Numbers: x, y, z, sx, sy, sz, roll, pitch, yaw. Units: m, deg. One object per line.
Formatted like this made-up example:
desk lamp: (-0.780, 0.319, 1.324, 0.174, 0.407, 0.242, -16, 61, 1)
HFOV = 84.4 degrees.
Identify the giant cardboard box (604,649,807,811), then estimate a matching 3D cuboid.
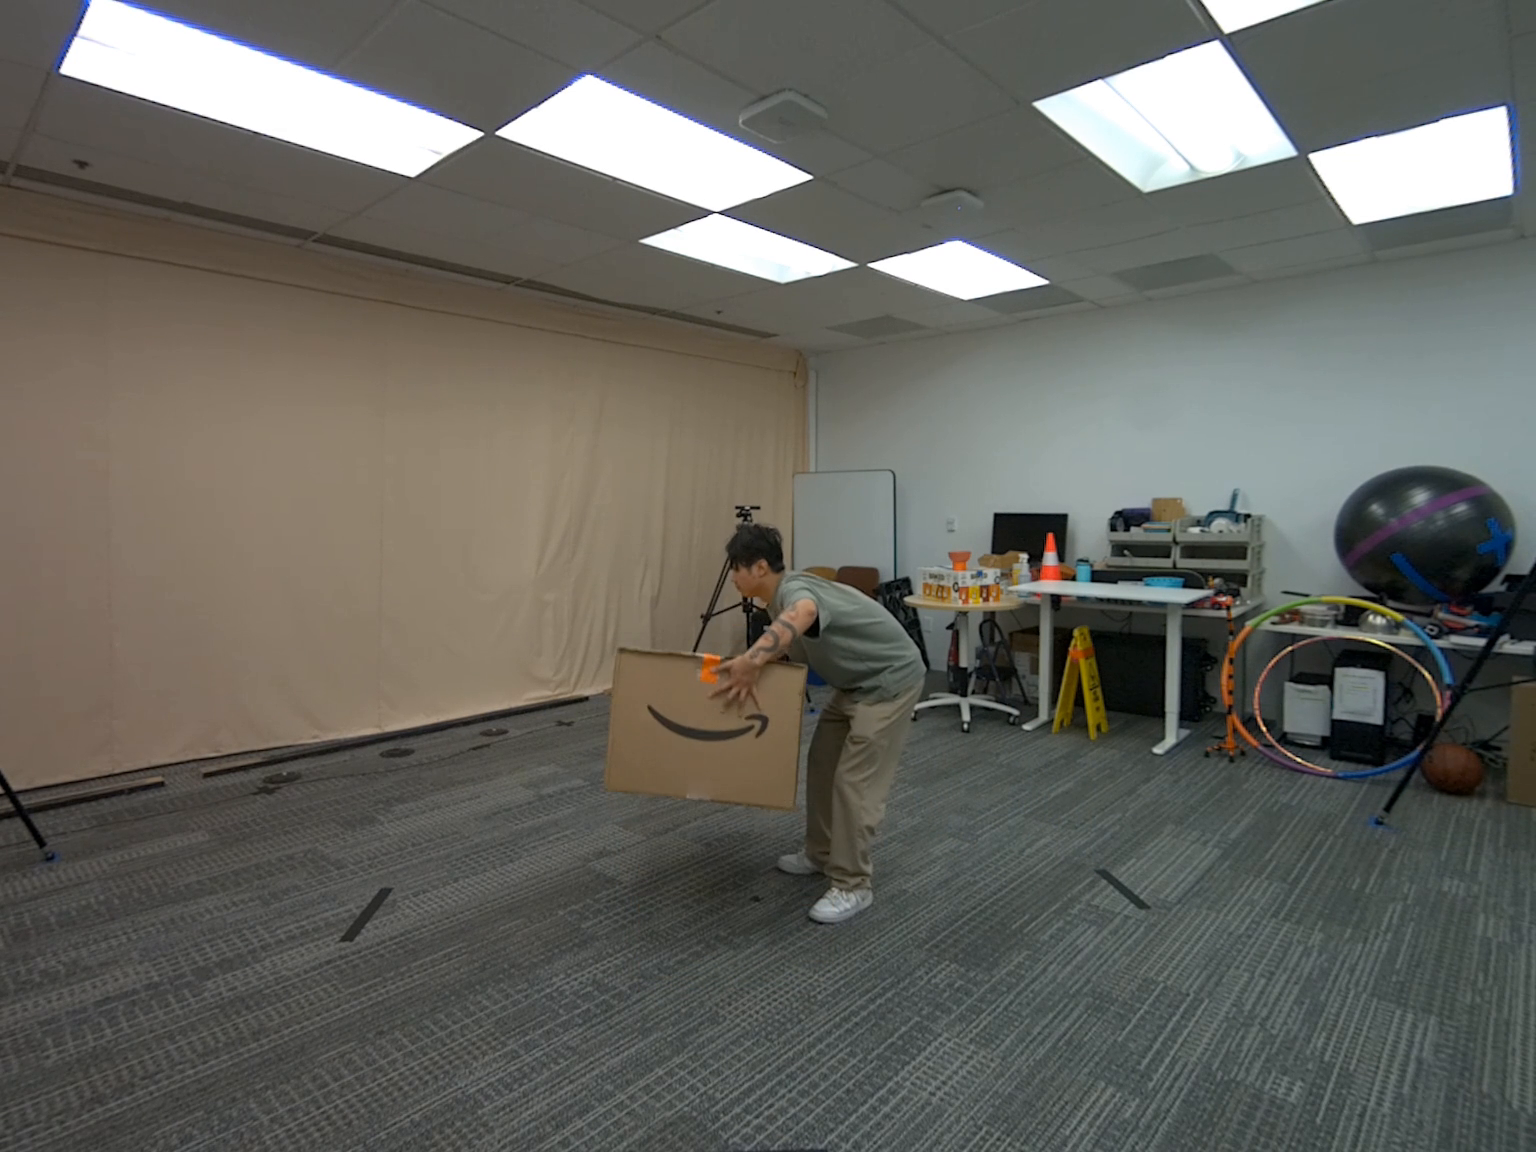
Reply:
giant cardboard box: (-0.191, 0.510, 3.008, 0.579, 0.428, 1.018, 5, -7, 1)
